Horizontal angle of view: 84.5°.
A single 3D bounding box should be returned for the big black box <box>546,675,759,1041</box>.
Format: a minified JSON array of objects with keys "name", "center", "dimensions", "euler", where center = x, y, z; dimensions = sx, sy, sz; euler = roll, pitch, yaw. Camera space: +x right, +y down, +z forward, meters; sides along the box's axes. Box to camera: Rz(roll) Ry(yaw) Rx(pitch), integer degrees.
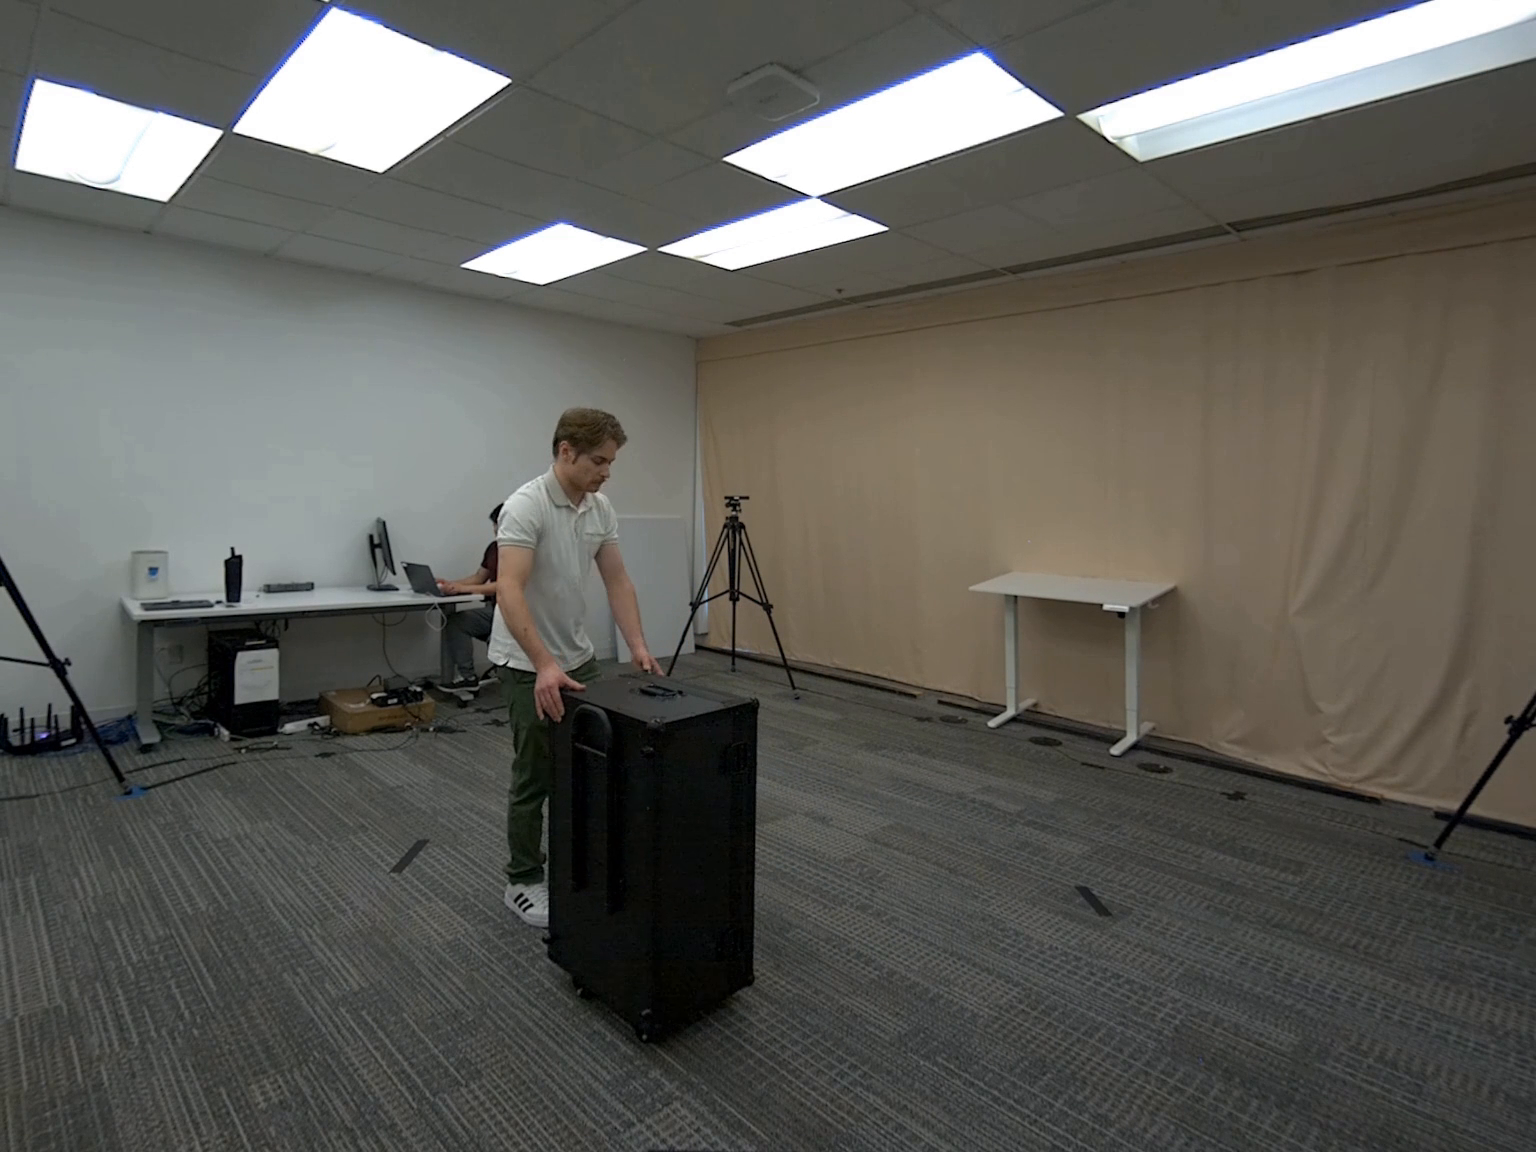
[{"name":"big black box","center":[-0.324,0.751,2.307],"dimensions":[0.537,0.866,0.376],"euler":[4,5,45]}]
